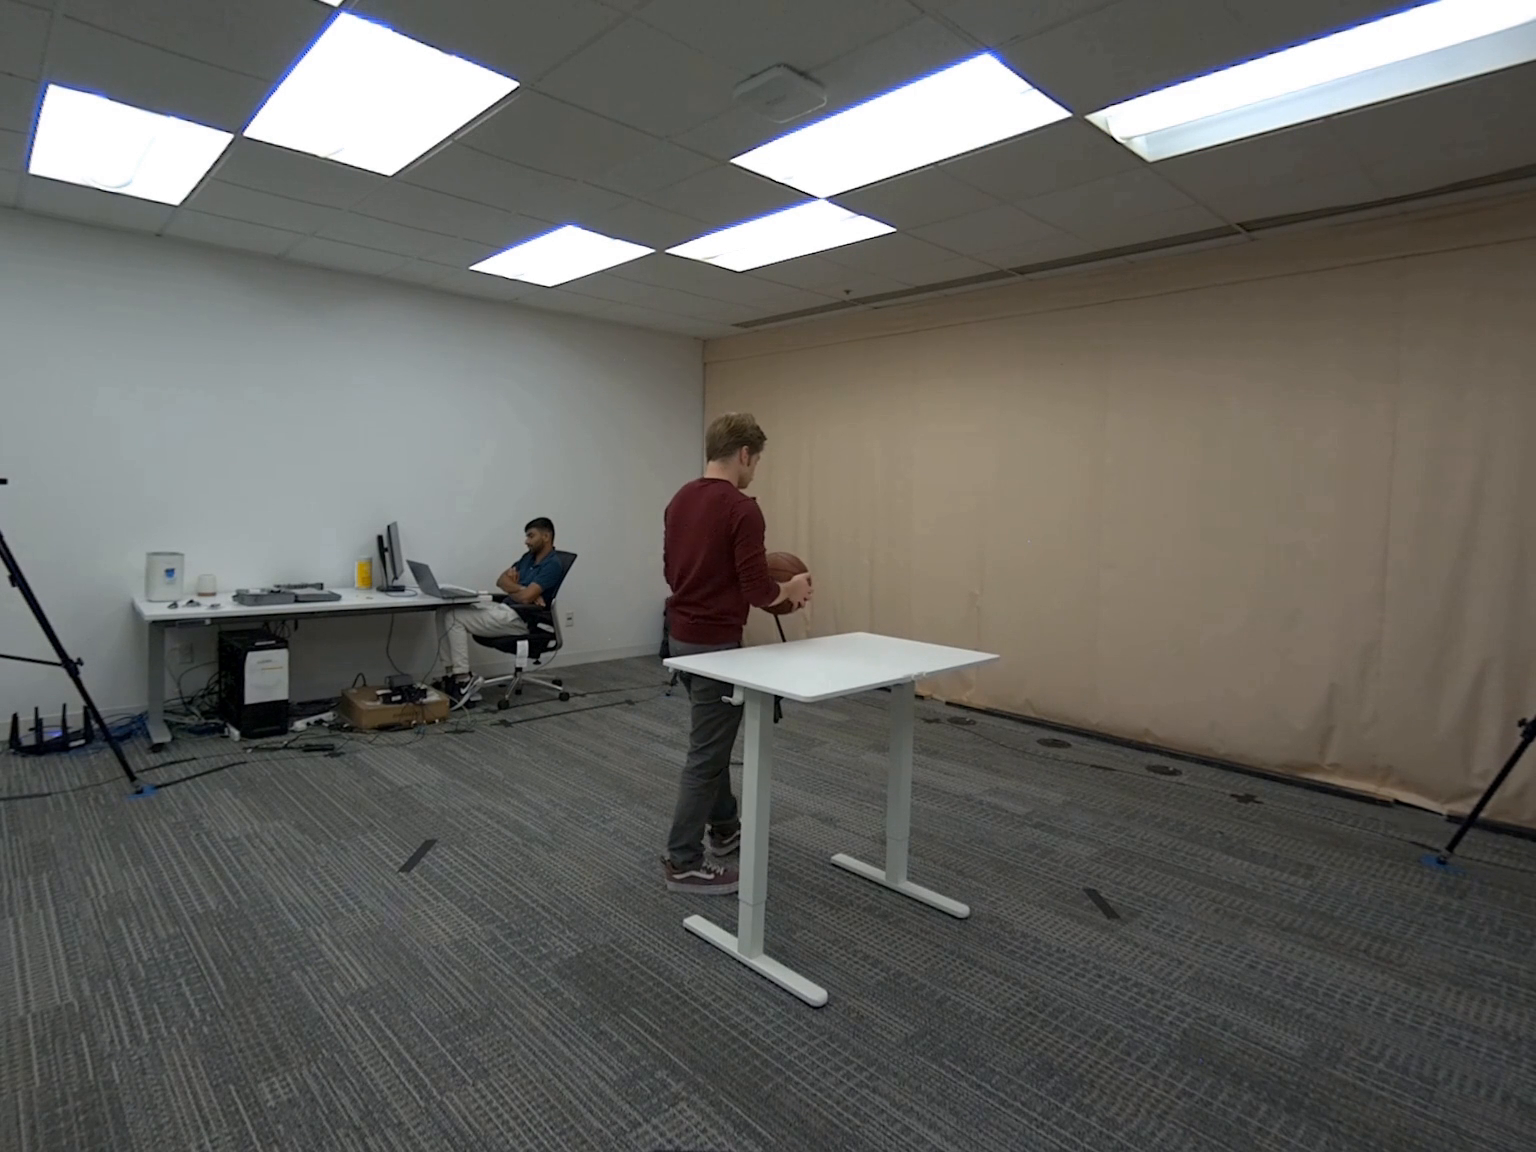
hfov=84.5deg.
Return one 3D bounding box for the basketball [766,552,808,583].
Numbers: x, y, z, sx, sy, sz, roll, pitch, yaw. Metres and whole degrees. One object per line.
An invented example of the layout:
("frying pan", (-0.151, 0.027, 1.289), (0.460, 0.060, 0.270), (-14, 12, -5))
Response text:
("basketball", (0.045, 0.030, 3.181), (0.236, 0.235, 0.237), (1, 4, -1))
